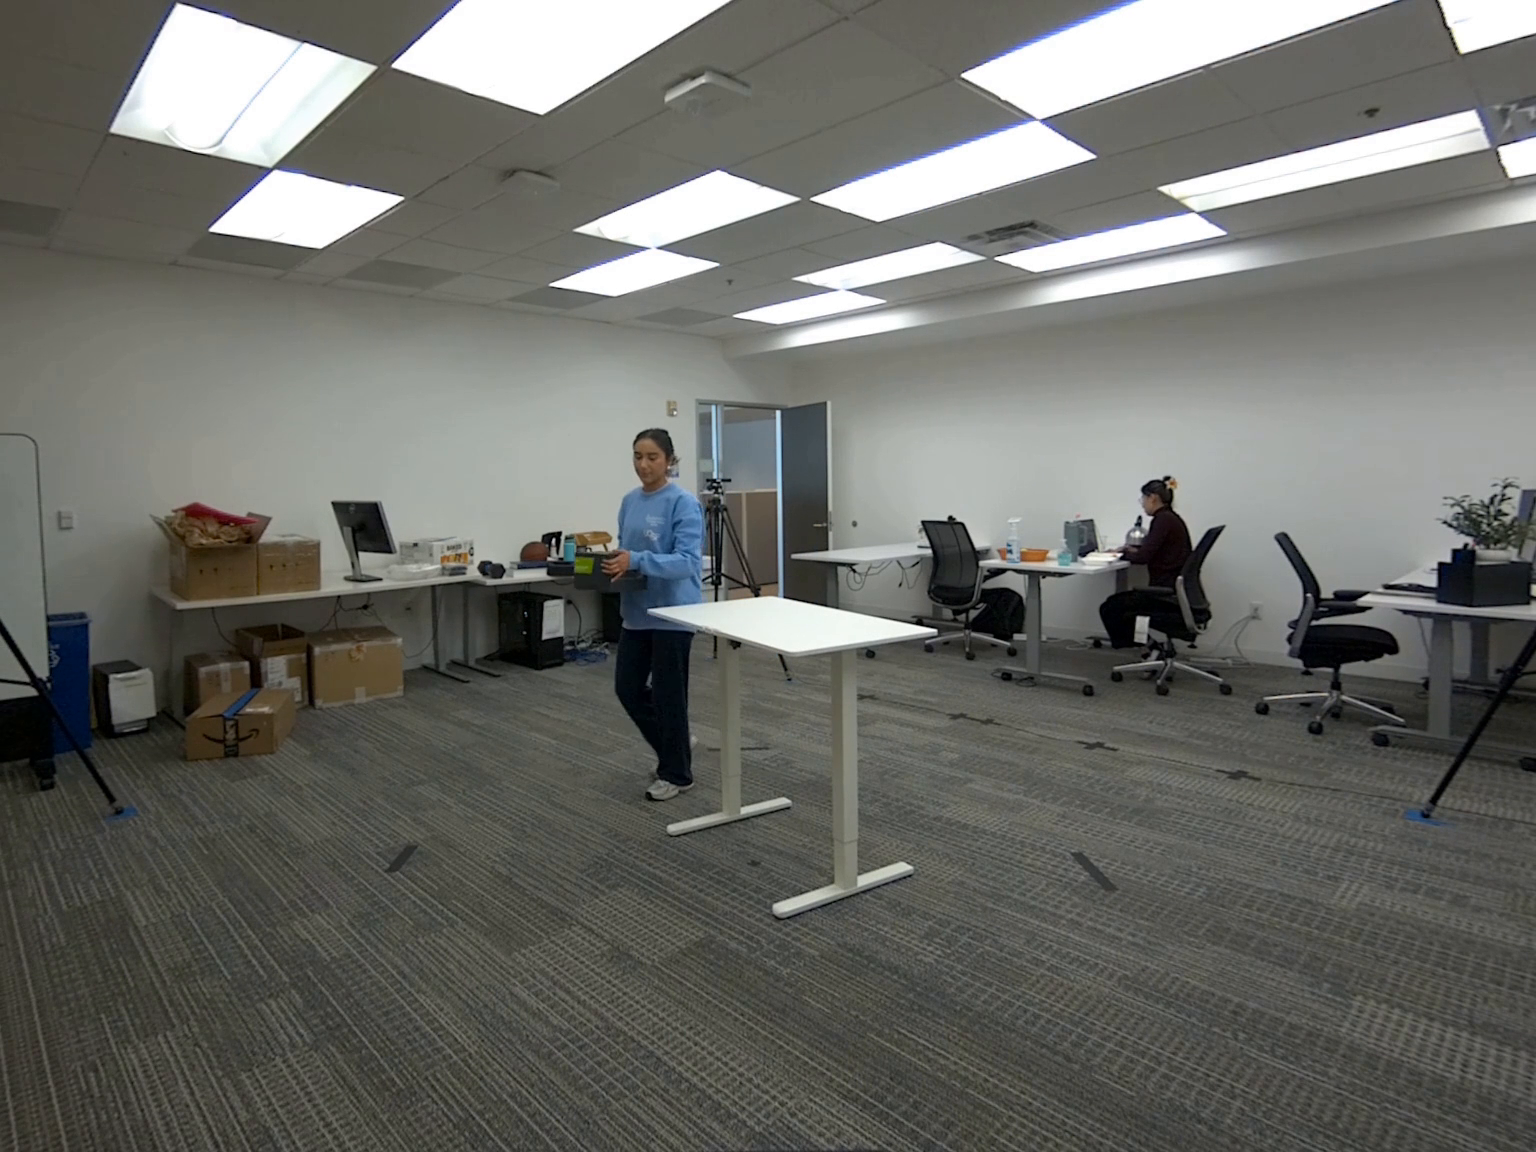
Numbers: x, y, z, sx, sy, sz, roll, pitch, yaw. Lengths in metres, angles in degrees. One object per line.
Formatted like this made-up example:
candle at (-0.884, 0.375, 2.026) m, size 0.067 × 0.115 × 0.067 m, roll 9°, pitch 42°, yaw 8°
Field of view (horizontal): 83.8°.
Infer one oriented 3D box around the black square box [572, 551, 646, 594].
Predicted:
black square box at (-0.671, -0.006, 3.620) m, size 0.234 × 0.156 × 0.211 m, roll 2°, pitch 2°, yaw 37°
